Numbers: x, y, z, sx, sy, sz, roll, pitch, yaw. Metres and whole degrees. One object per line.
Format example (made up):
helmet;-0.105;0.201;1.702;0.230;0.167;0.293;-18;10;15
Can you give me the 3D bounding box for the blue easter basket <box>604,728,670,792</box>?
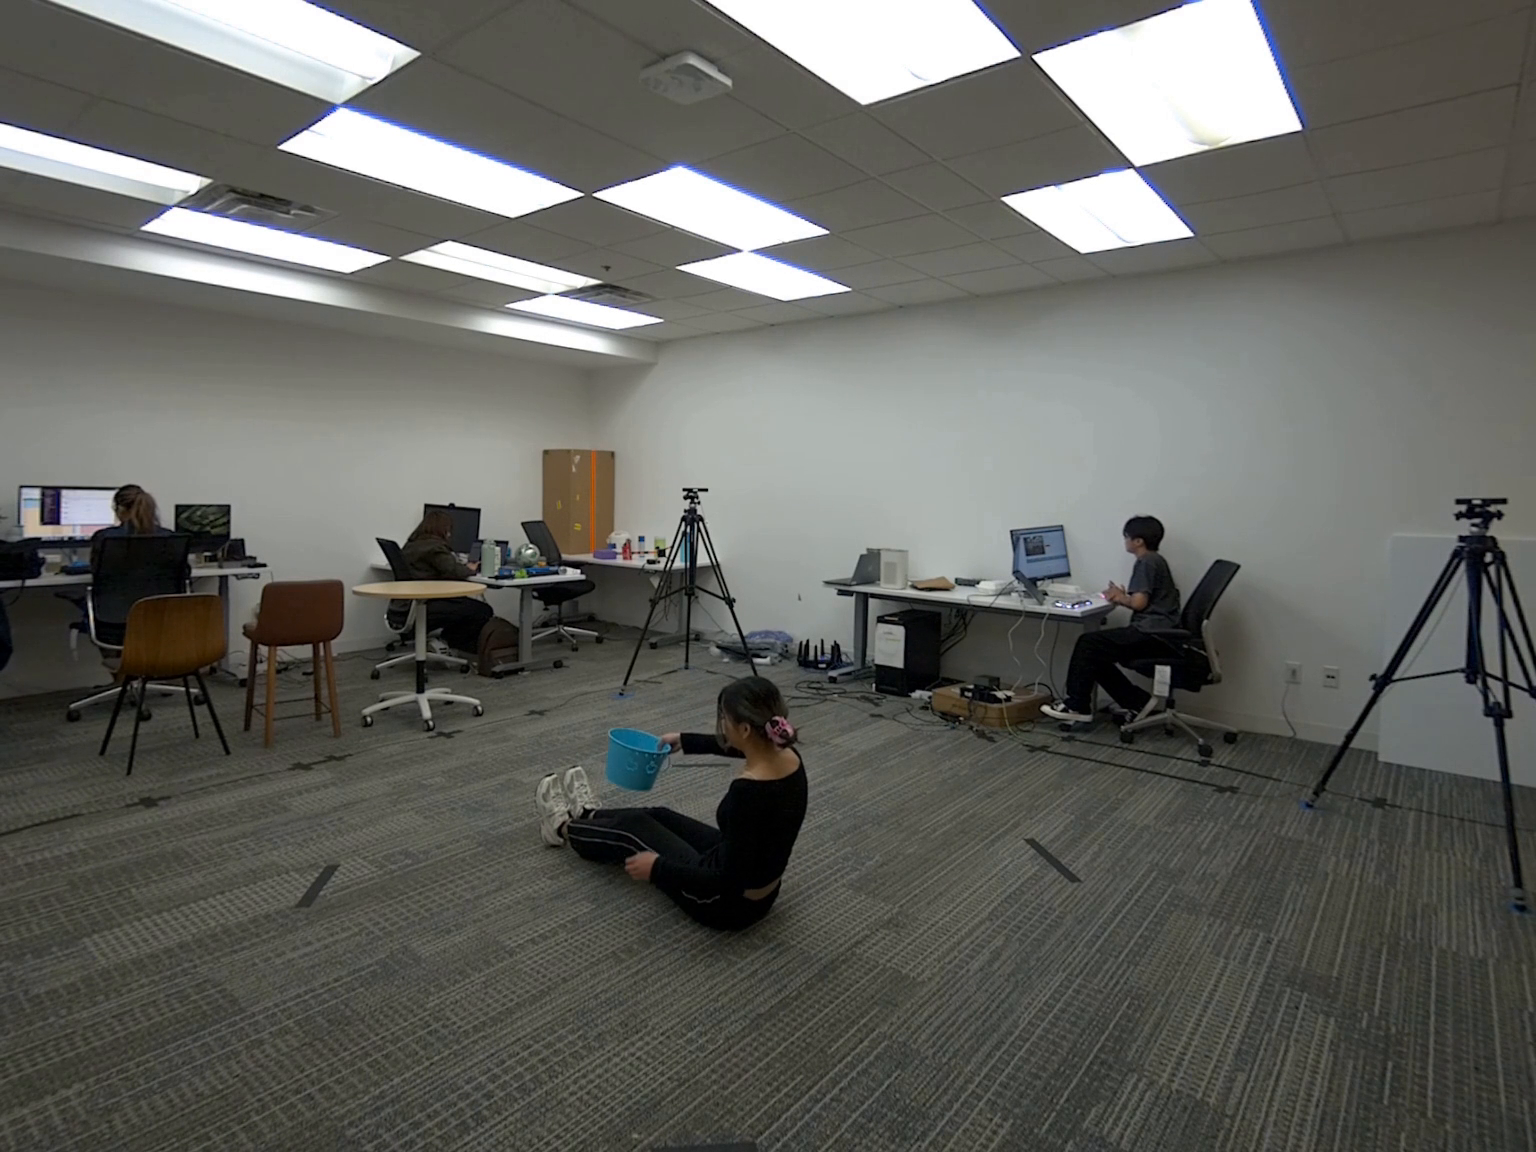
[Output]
blue easter basket;-0.473;0.658;3.032;0.243;0.156;0.244;15;2;-2
